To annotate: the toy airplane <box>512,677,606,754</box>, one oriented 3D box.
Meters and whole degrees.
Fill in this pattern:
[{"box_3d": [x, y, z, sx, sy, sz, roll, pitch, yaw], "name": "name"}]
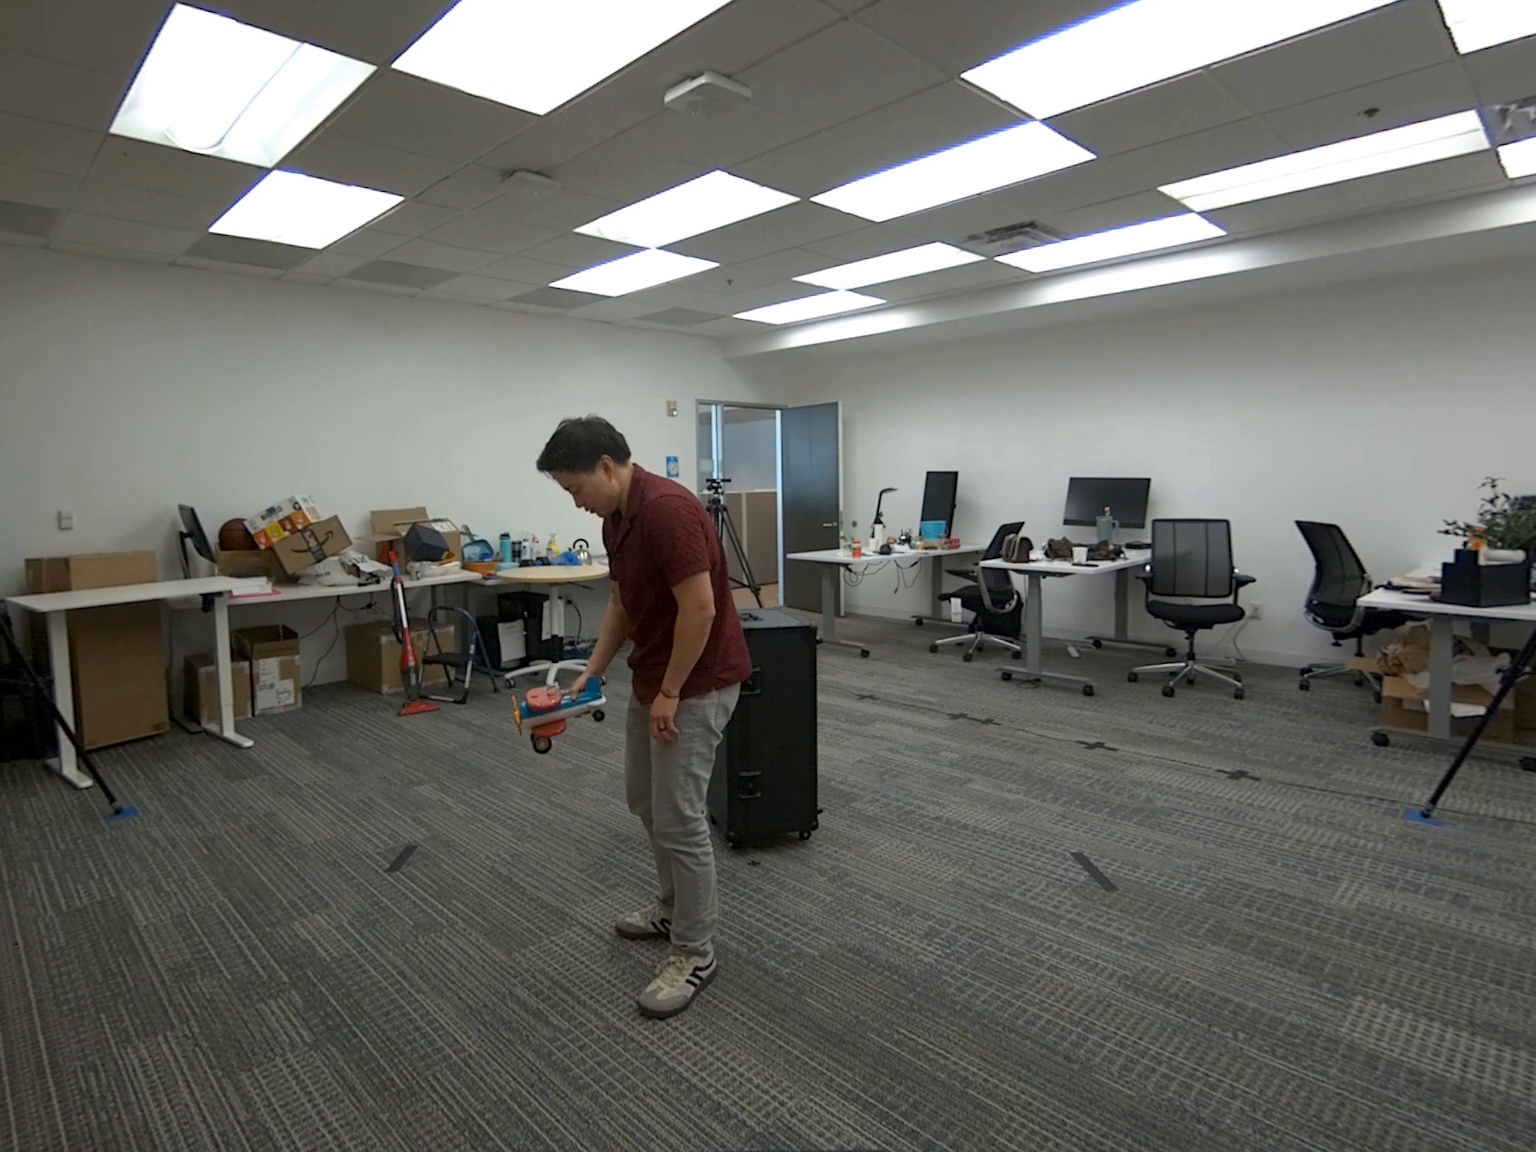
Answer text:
[{"box_3d": [-0.597, 0.405, 2.477, 0.256, 0.155, 0.256, -31, 11, -40], "name": "toy airplane"}]
